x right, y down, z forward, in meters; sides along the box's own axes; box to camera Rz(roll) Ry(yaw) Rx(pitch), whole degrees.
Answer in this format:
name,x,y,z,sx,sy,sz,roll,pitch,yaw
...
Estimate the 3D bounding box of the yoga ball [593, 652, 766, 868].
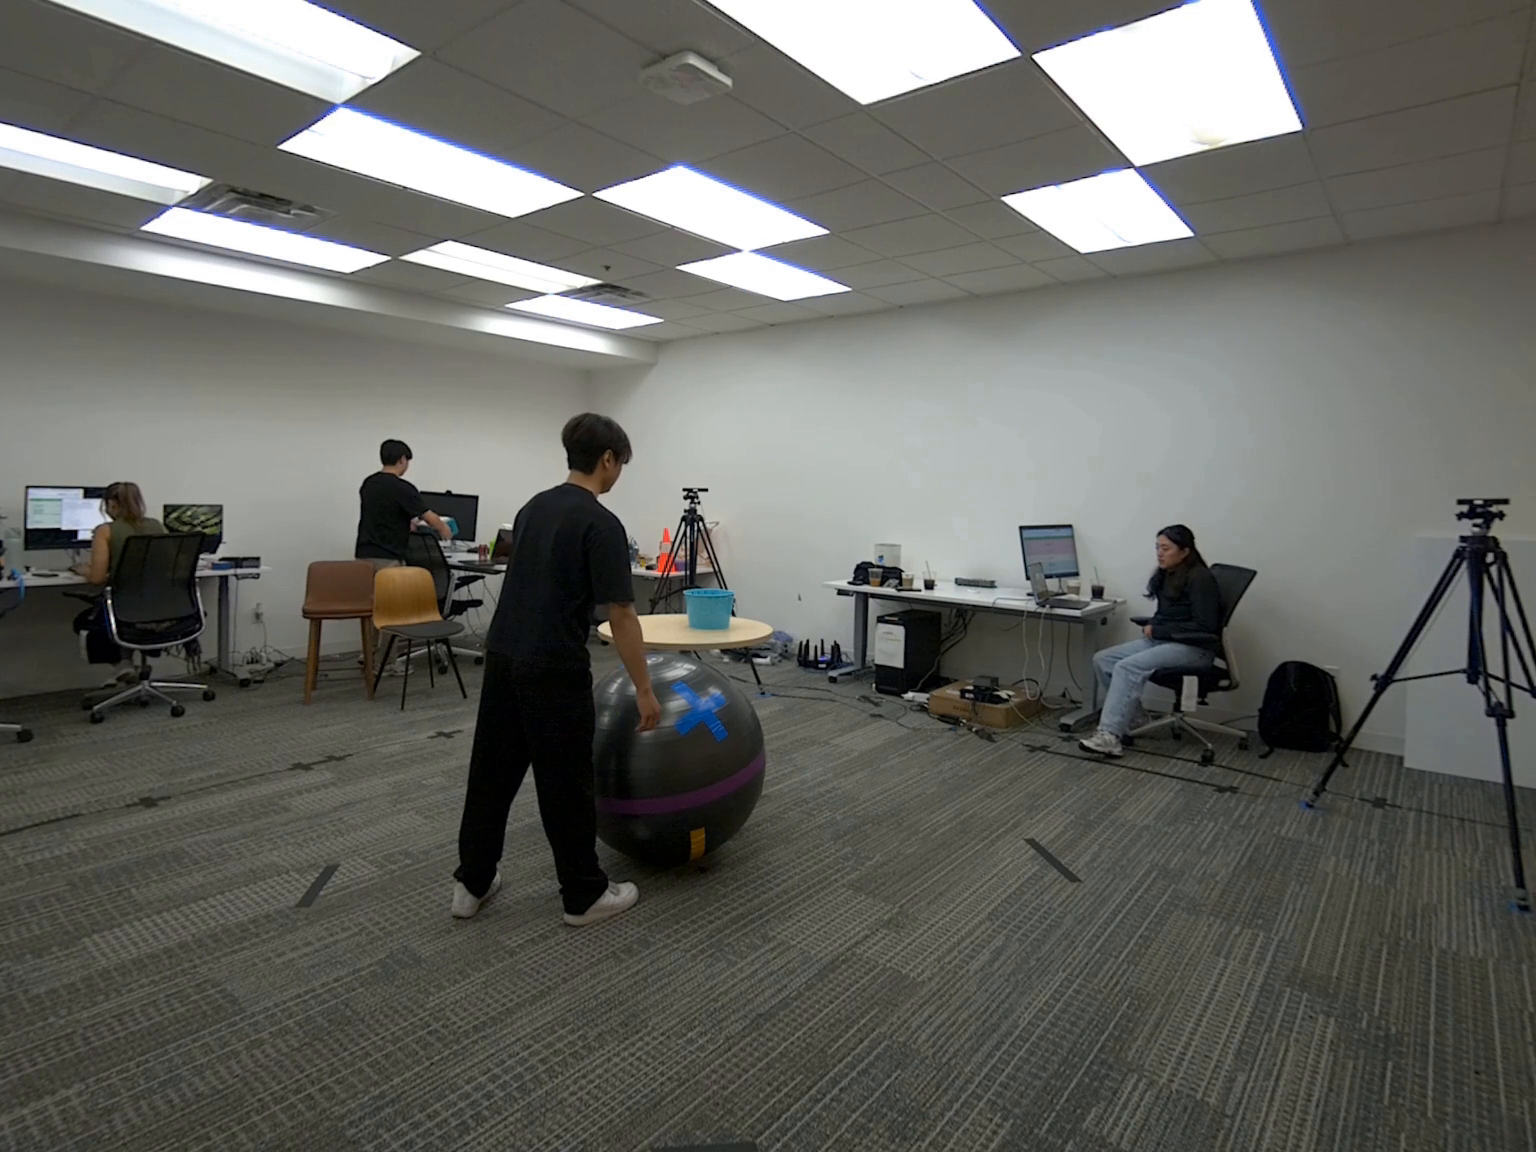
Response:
name,x,y,z,sx,sy,sz,roll,pitch,yaw
yoga ball,-0.391,0.689,3.216,0.757,0.755,0.762,1,4,-2
